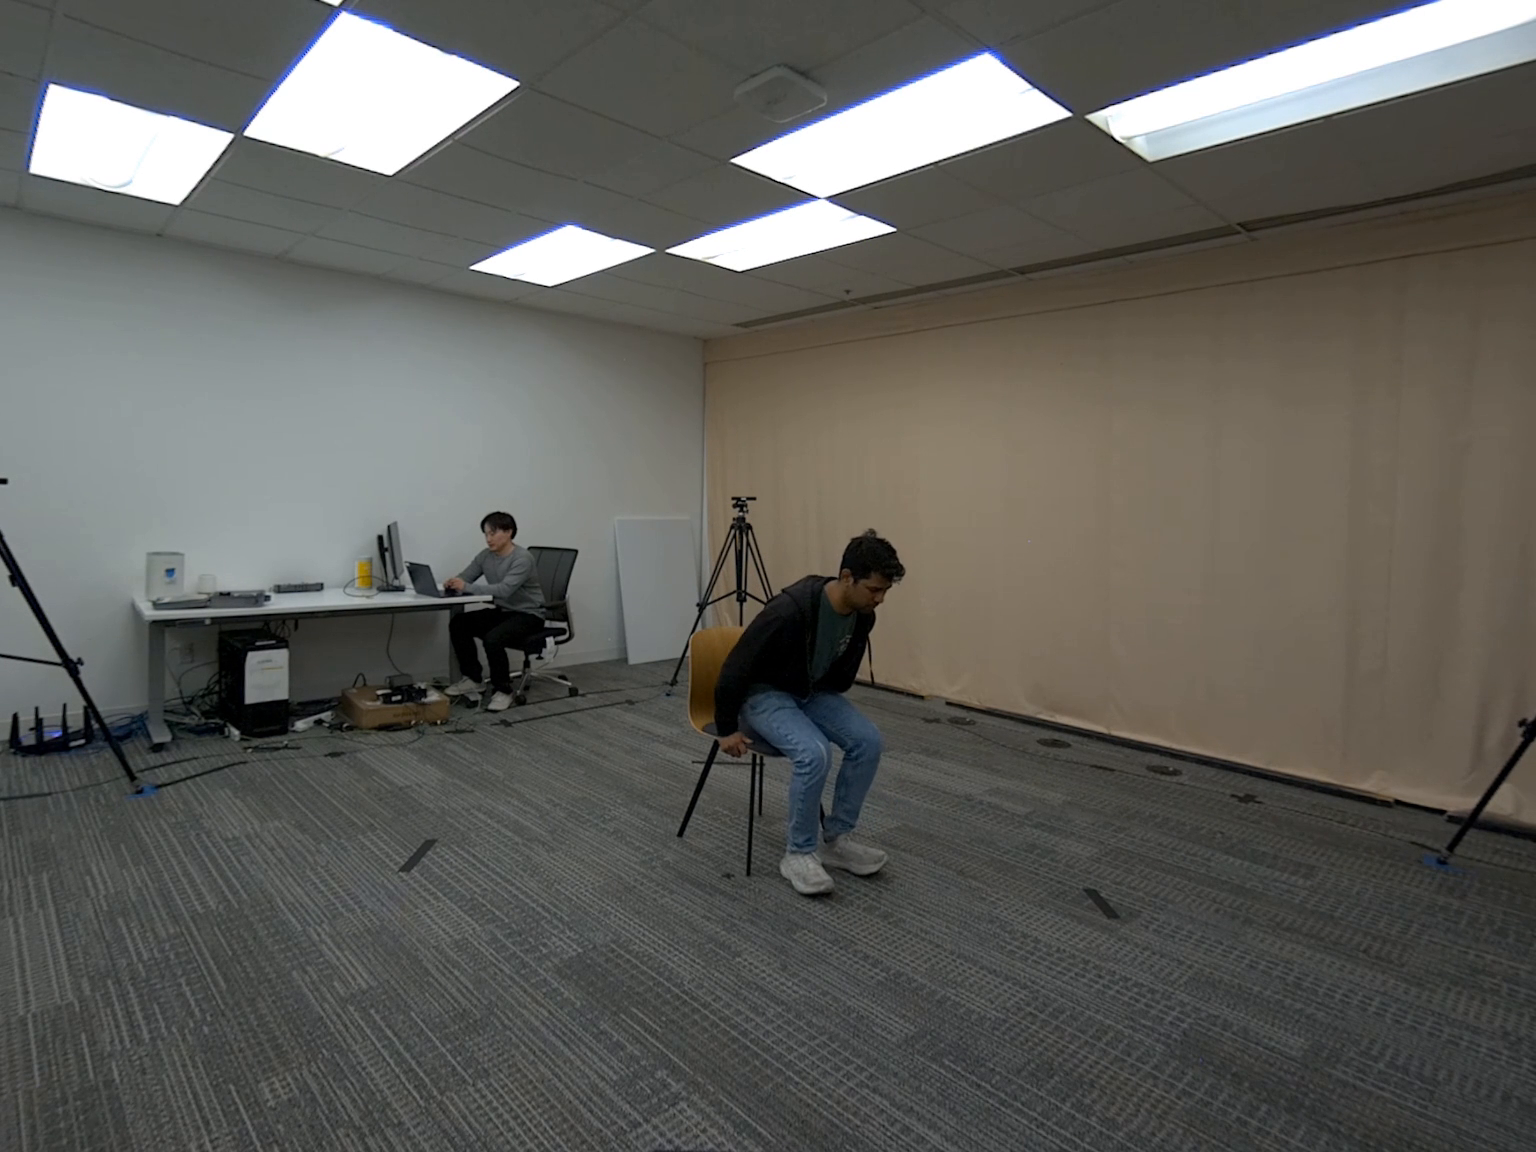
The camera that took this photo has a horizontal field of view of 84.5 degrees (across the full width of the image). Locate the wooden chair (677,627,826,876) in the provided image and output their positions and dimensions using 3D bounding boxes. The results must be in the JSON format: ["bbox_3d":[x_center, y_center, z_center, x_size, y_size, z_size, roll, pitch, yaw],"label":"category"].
[{"bbox_3d":[-0.044,0.658,3.375,0.467,0.877,0.535,0,0,-39],"label":"wooden chair"}]
